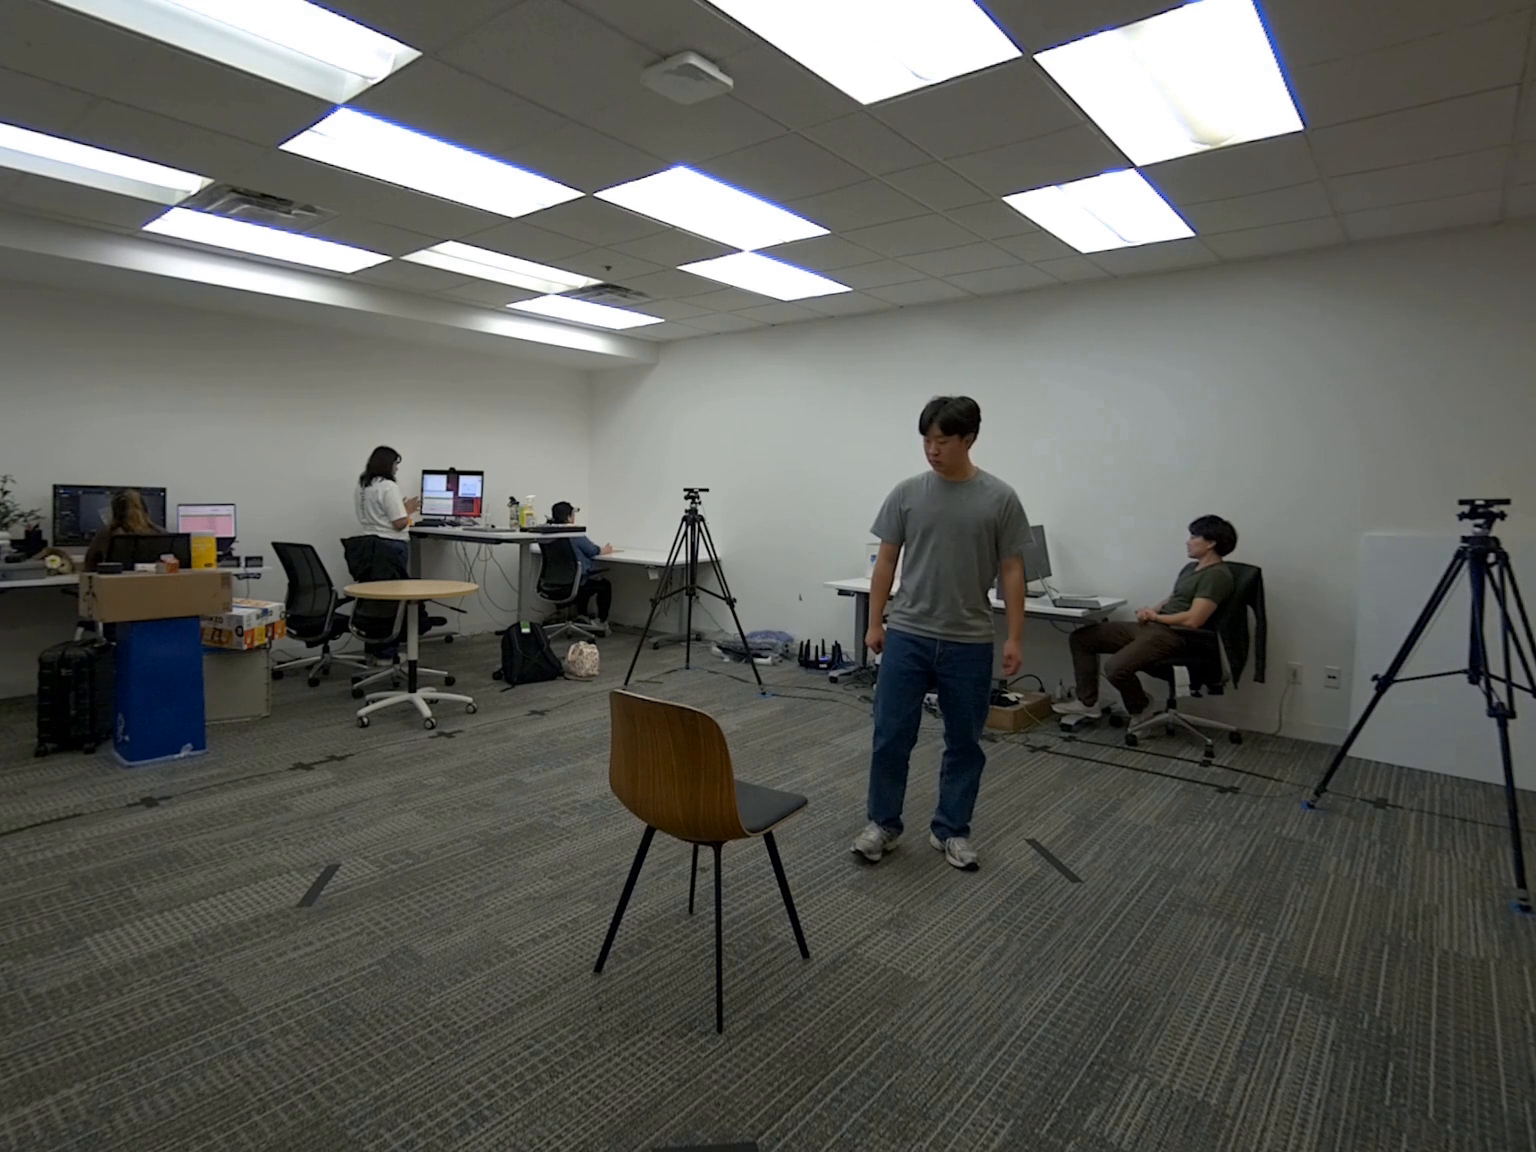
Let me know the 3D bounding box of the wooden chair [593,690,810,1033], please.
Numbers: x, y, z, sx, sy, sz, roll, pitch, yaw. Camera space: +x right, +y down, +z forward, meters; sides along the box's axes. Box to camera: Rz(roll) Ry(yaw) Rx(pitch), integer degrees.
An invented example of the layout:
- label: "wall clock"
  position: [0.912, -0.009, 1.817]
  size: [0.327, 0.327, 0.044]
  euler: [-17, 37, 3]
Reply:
- label: "wooden chair"
  position: [-0.185, 0.706, 2.461]
  size: [0.493, 0.871, 0.510]
  euler: [3, 9, 34]
